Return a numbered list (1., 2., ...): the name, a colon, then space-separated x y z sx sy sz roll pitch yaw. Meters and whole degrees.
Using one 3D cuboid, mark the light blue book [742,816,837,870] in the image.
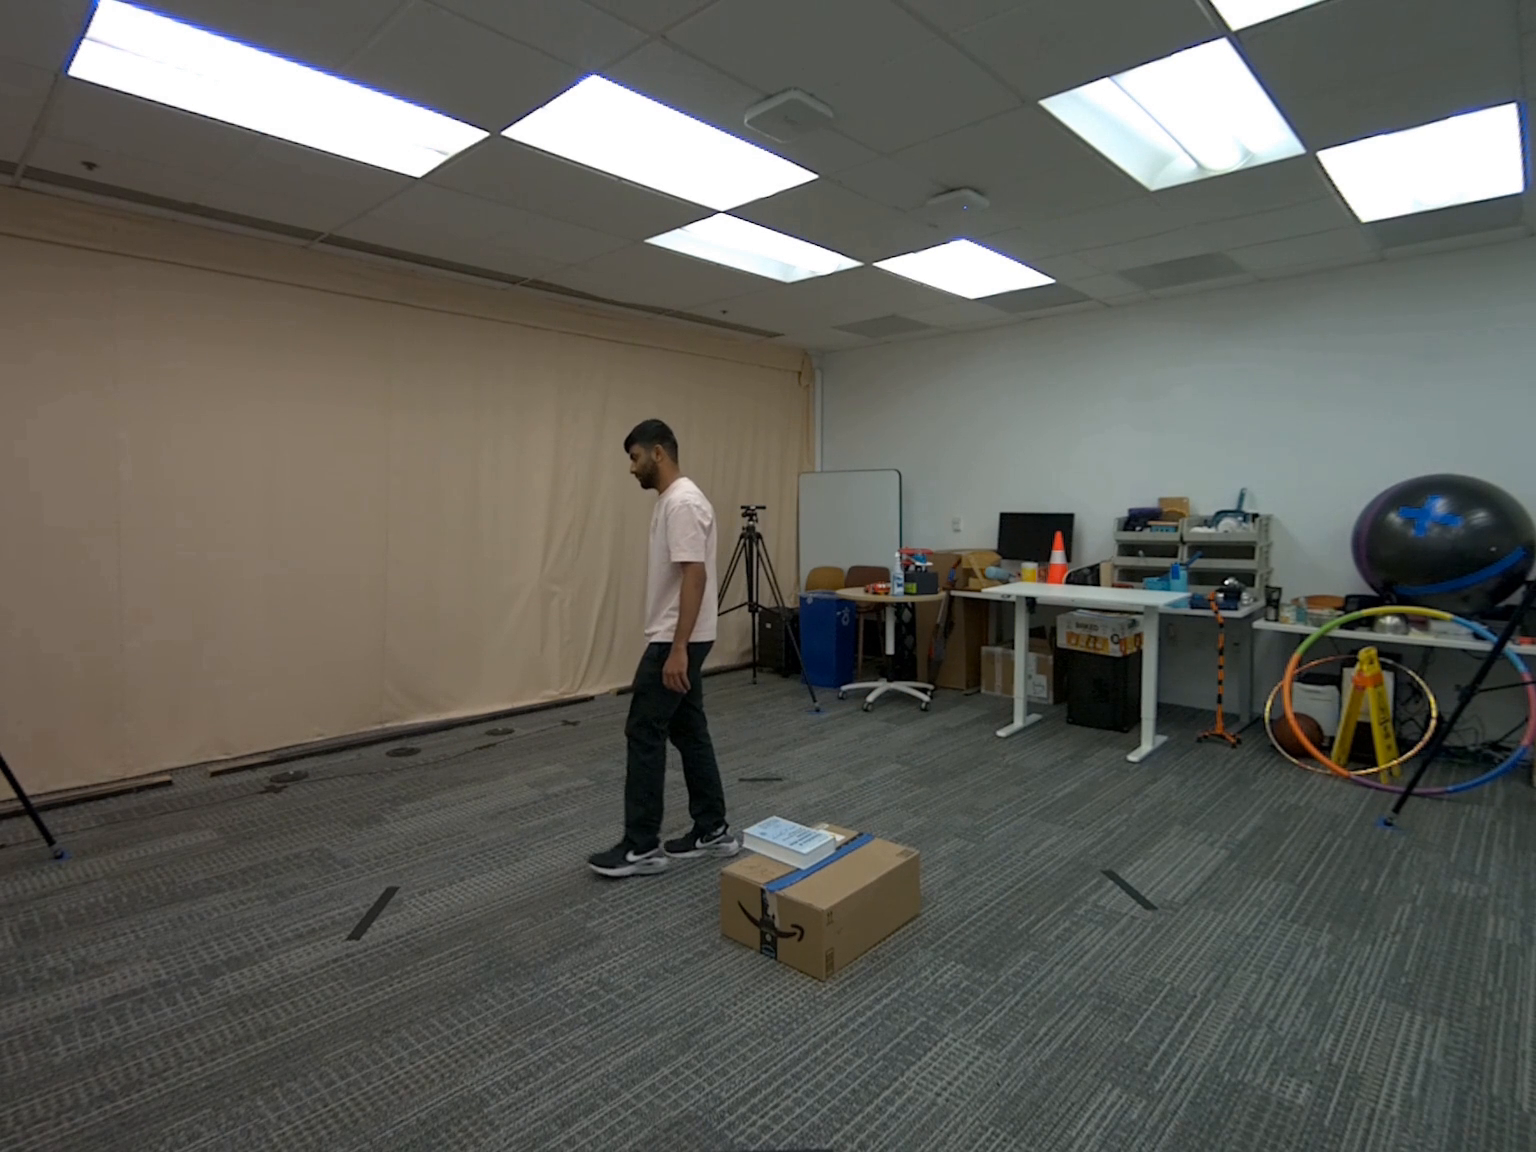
1. light blue book: 0.074 0.909 2.888 0.270 0.059 0.186 6 8 39
